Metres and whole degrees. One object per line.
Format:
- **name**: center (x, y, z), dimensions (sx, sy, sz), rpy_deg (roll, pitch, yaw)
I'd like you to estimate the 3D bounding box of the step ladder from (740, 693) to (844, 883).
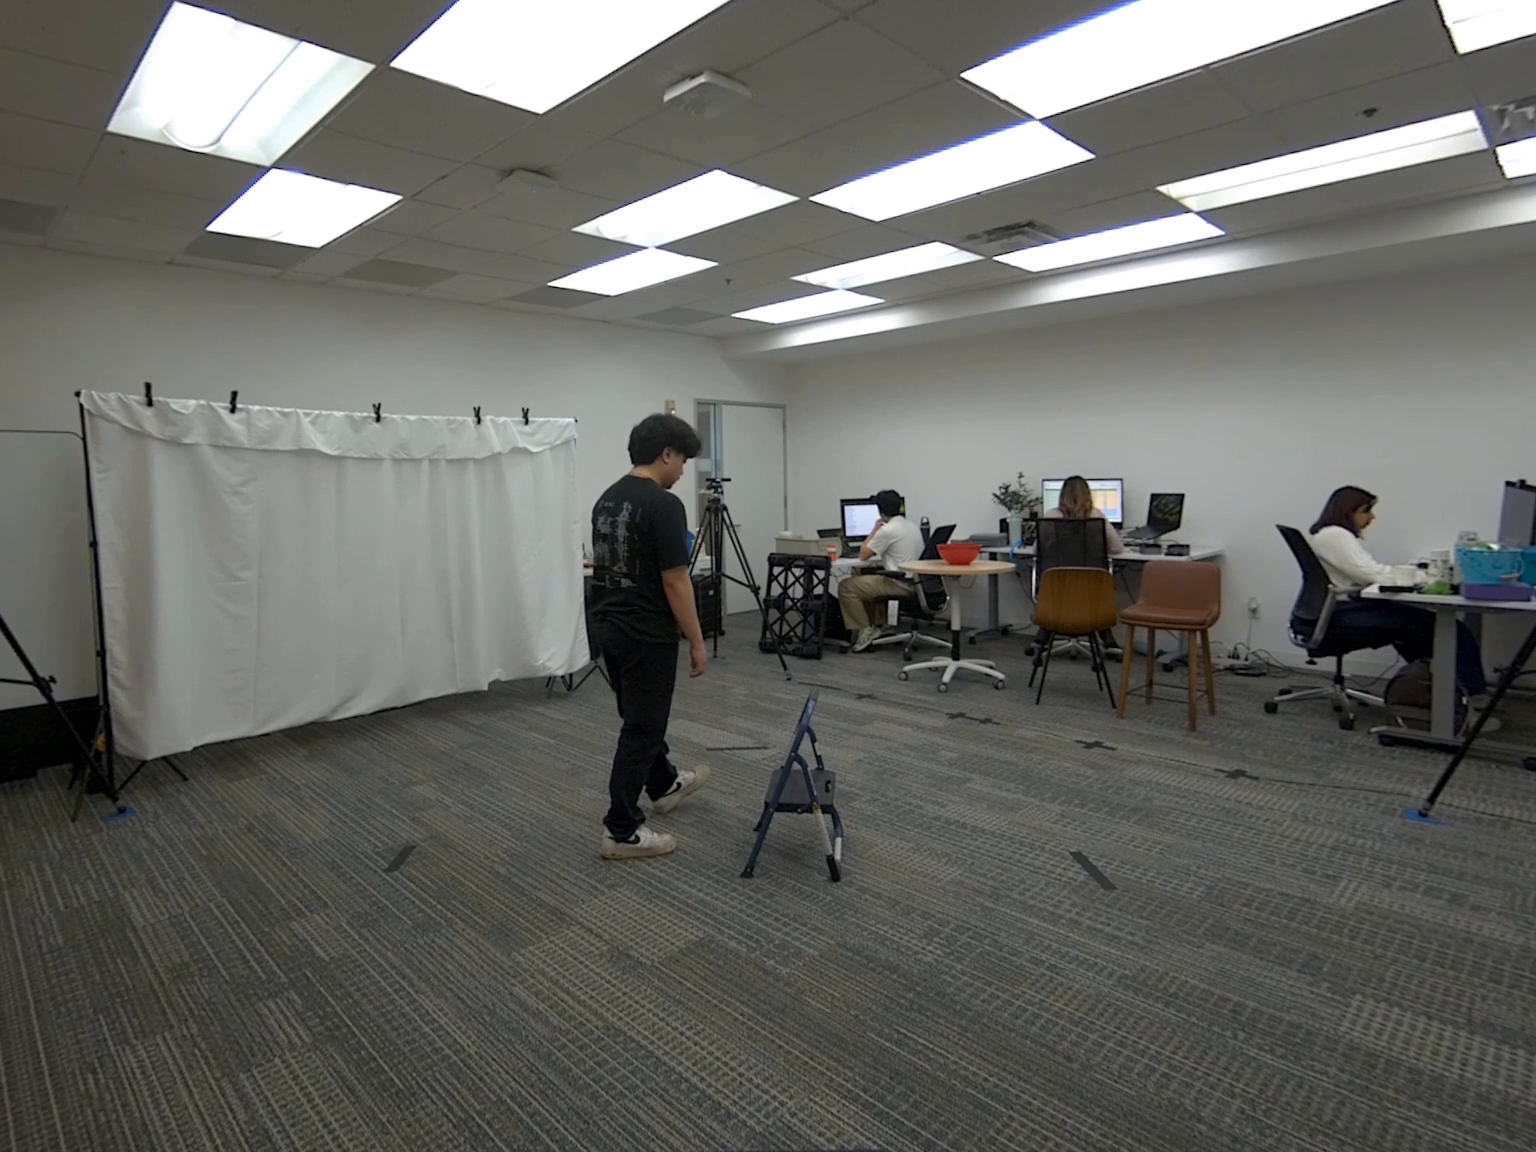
- **step ladder**: center (0.099, 0.737, 3.148), dimensions (0.352, 0.604, 0.429), rpy_deg (-1, 4, 7)
